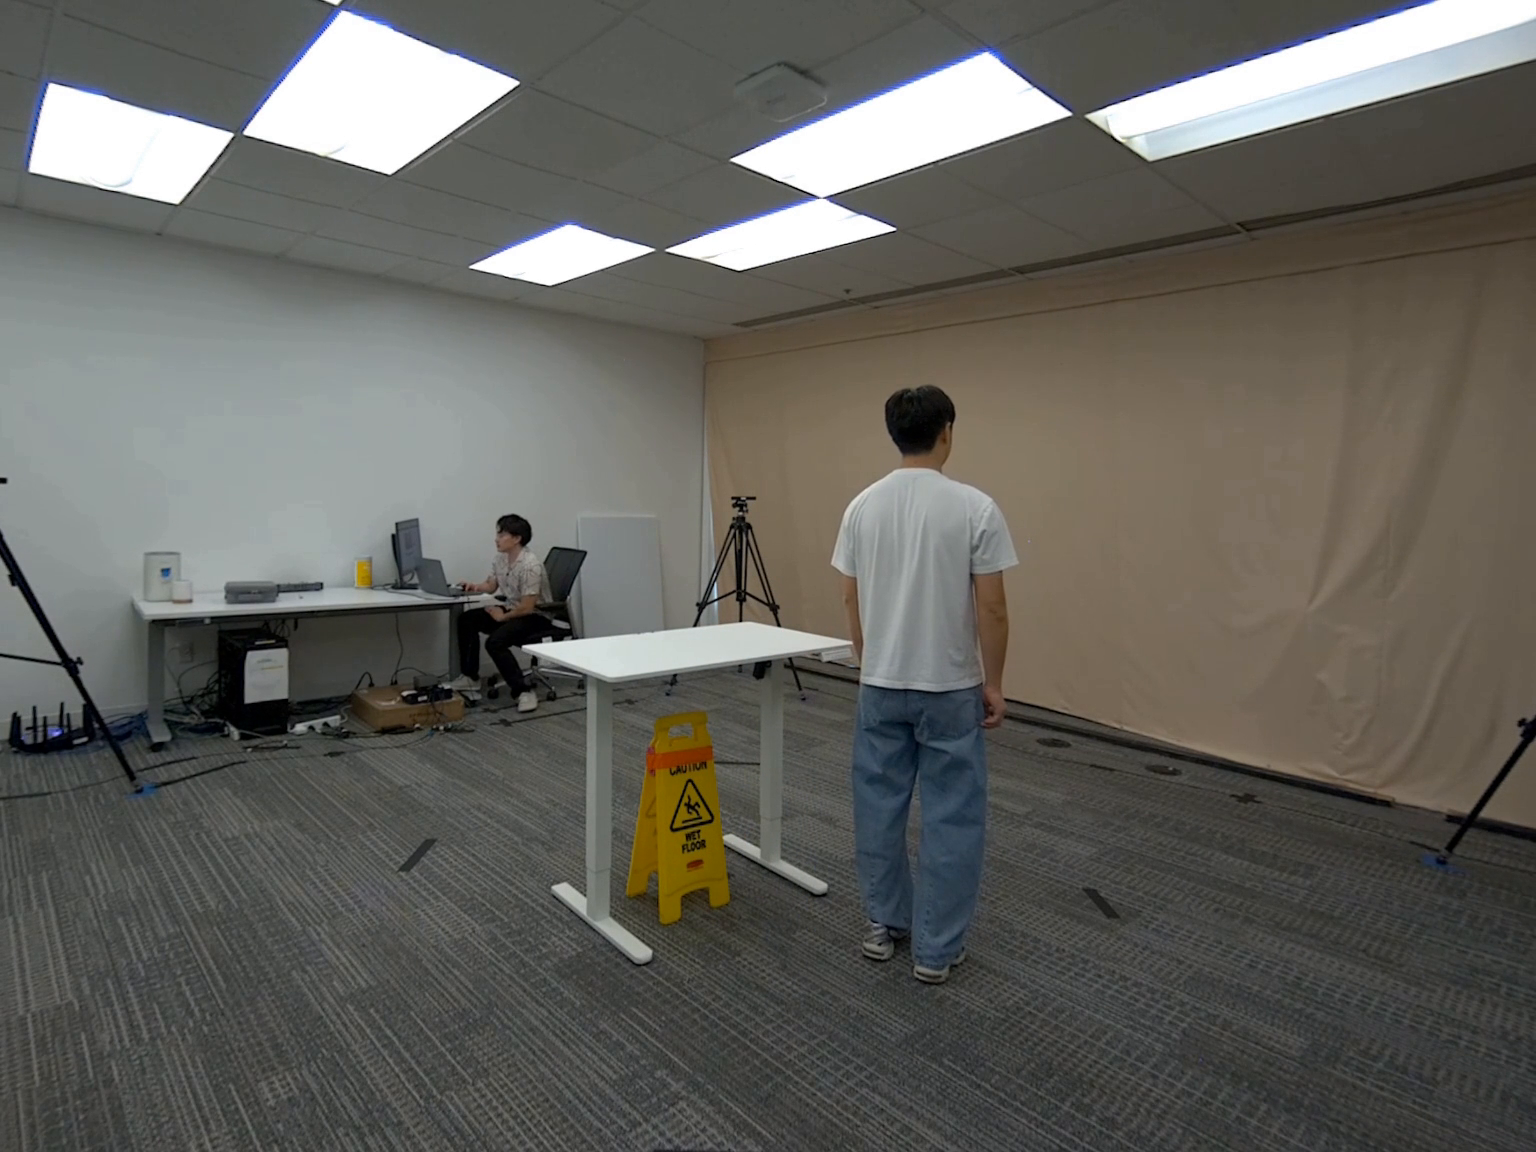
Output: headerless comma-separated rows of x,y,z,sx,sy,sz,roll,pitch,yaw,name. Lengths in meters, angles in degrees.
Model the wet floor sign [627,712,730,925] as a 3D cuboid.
-0.306,0.796,2.887,0.276,0.645,0.297,-1,3,-38,wet floor sign
